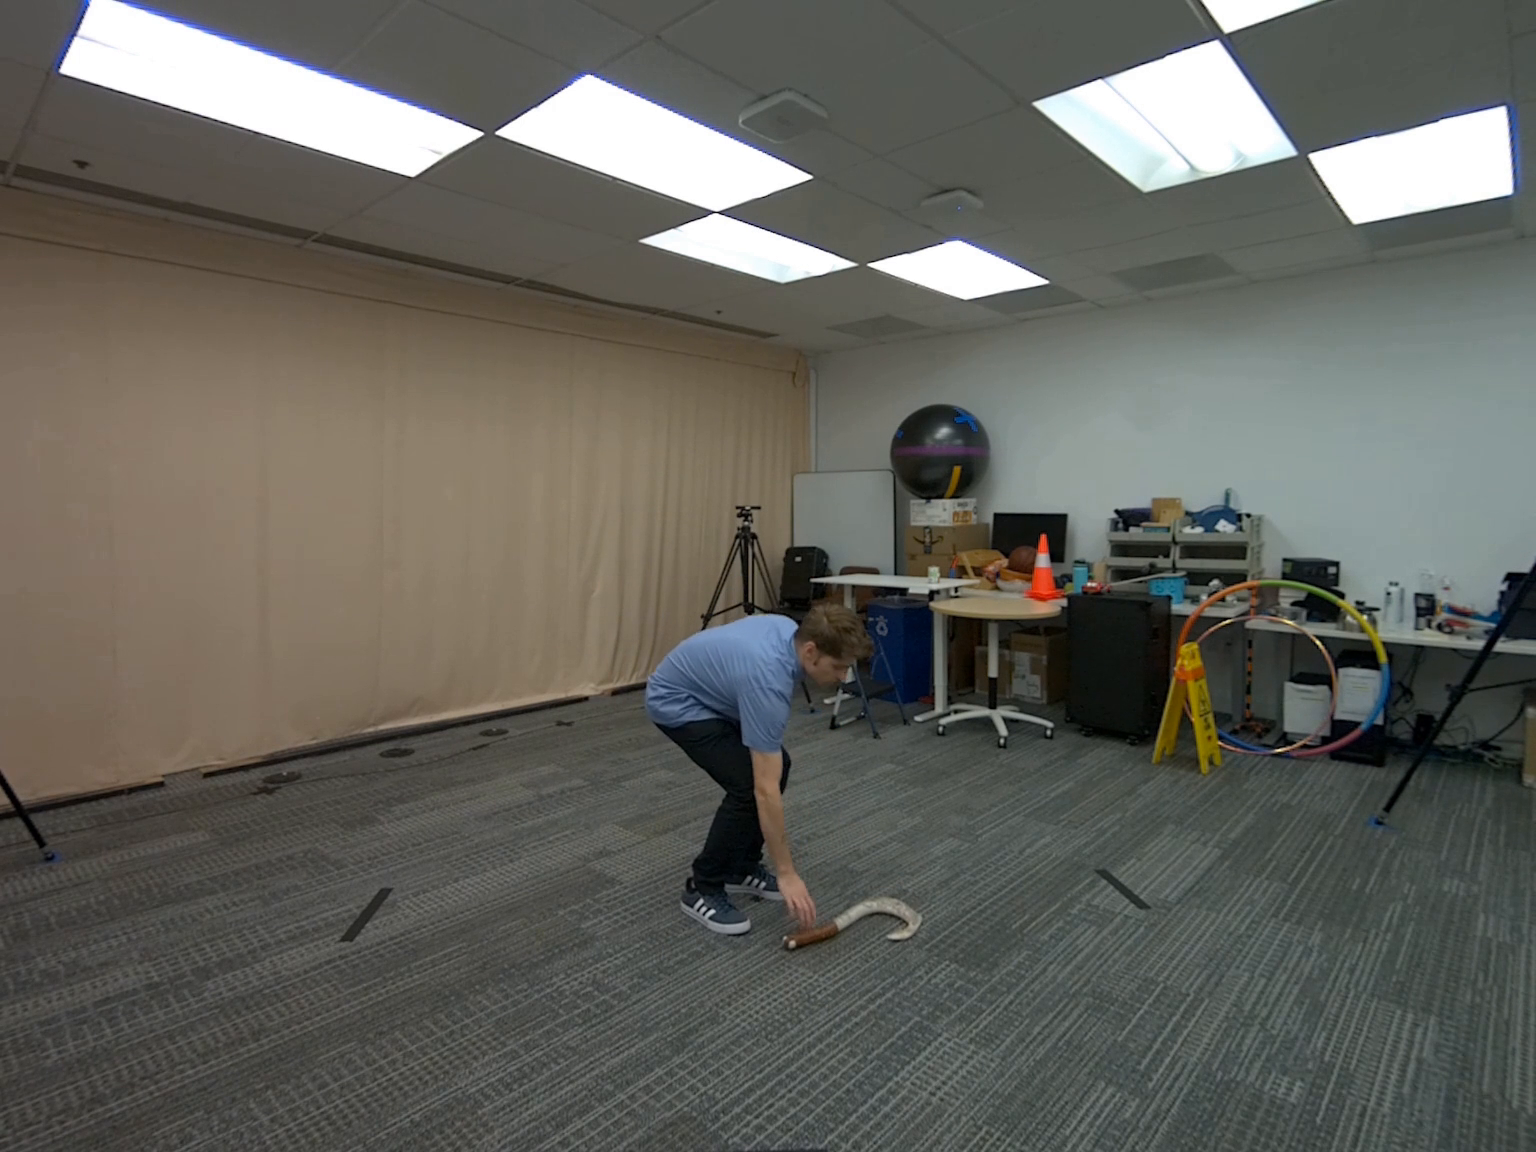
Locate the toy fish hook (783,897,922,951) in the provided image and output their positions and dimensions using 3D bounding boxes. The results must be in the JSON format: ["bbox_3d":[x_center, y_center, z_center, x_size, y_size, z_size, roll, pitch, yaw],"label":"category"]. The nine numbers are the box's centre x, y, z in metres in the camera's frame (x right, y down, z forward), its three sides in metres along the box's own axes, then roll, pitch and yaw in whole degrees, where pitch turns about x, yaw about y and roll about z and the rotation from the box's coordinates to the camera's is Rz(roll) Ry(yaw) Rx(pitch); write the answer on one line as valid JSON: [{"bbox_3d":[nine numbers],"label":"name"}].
[{"bbox_3d":[0.288,1.143,2.727,0.492,0.048,0.231,-4,4,-34],"label":"toy fish hook"}]
